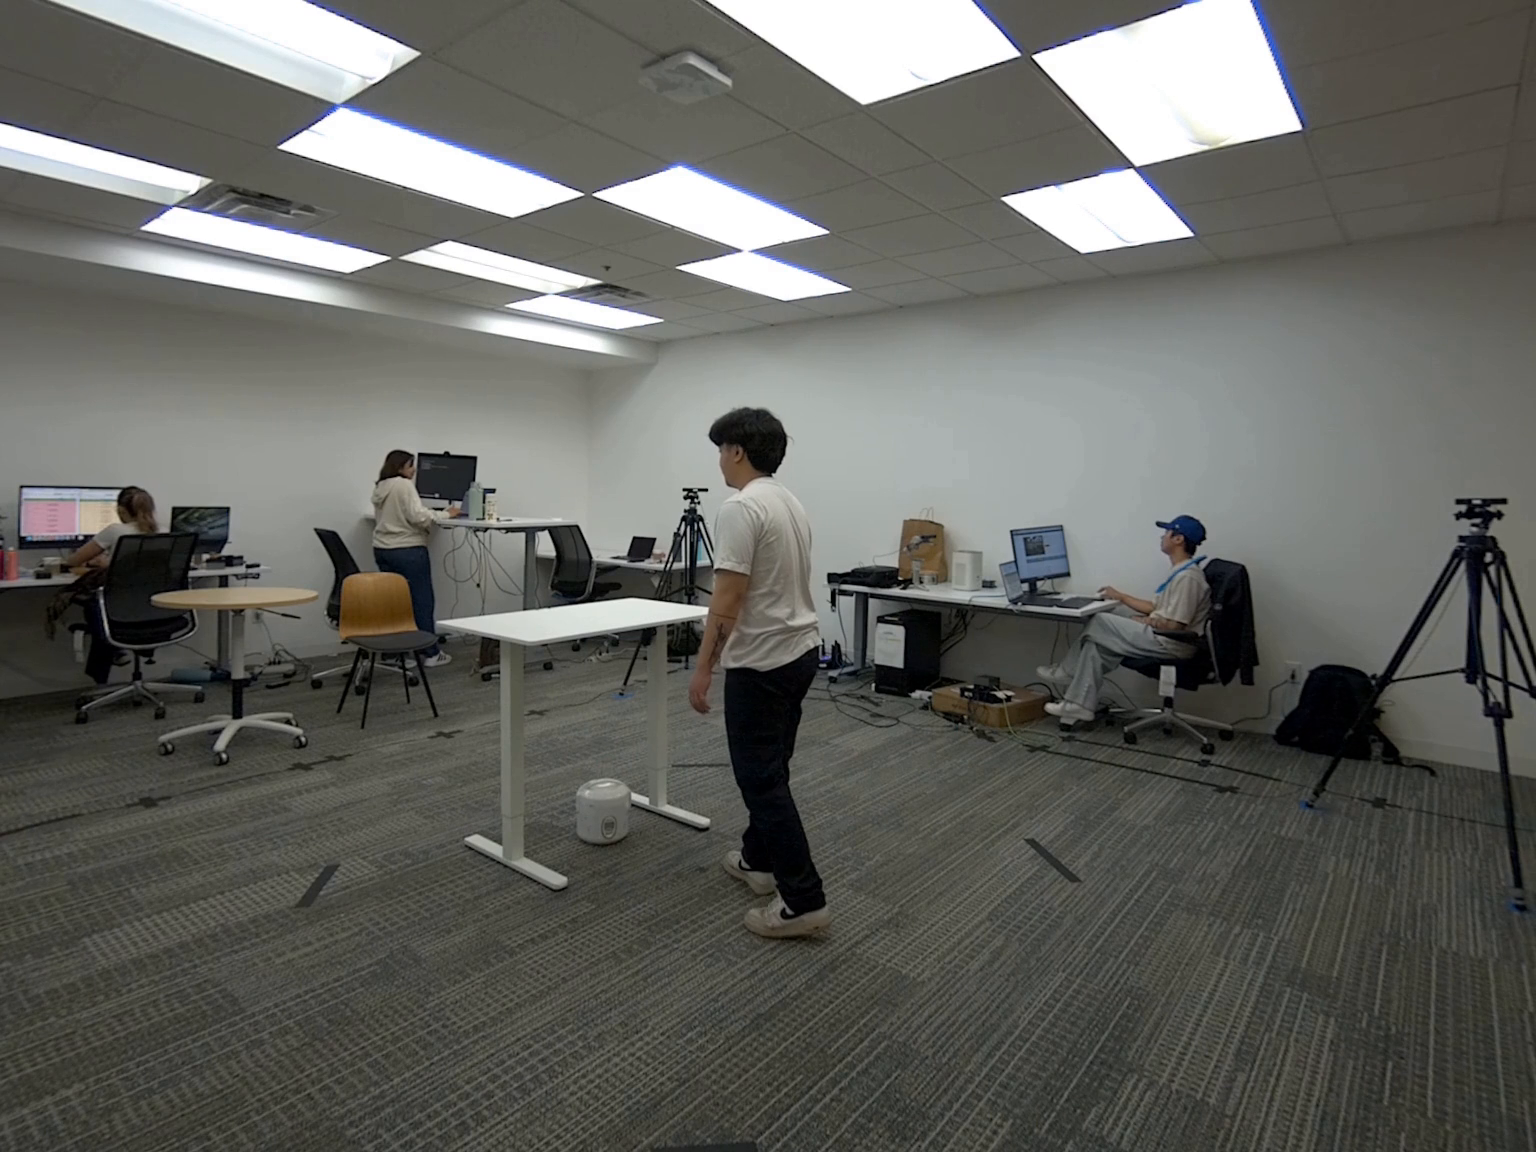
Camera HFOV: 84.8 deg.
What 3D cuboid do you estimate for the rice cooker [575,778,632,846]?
[{"bbox_3d":[-0.665,0.921,3.378,0.216,0.232,0.223,-1,4,-22],"label":"rice cooker"}]
